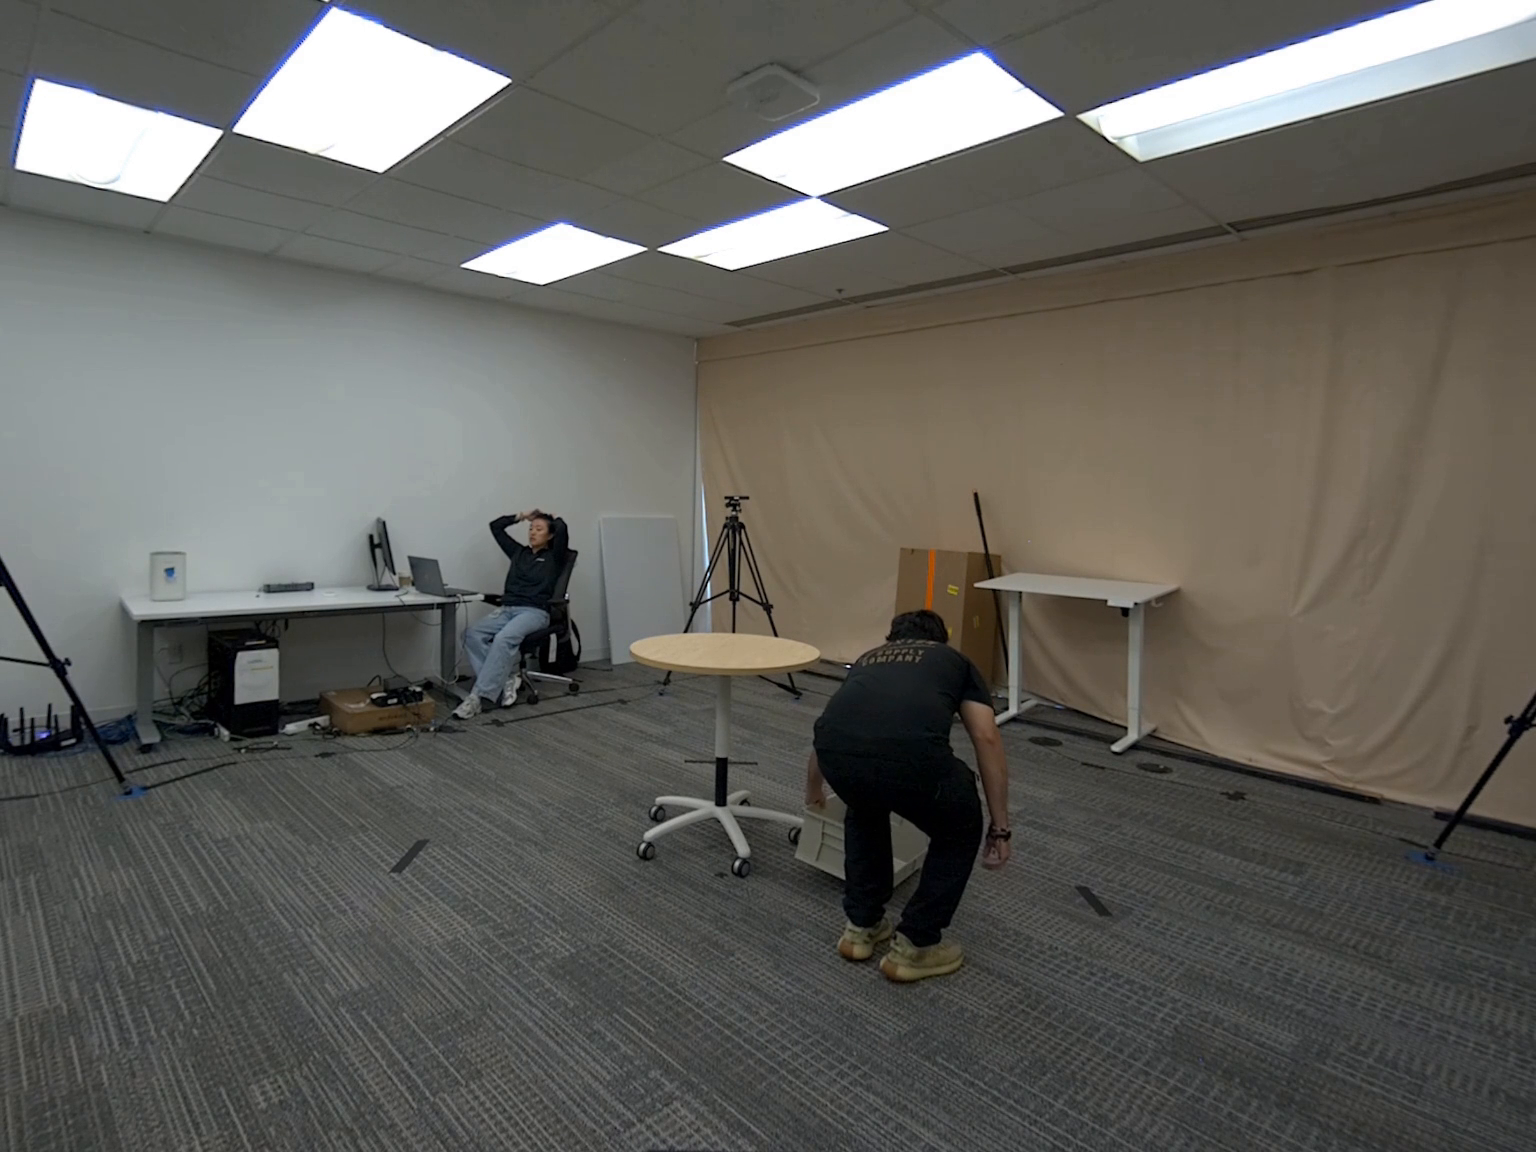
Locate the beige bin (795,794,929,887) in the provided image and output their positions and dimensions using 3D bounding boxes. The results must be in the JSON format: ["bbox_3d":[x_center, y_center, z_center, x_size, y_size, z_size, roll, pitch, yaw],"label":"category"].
[{"bbox_3d":[0.343,0.980,3.115,0.386,0.188,0.413,14,4,26],"label":"beige bin"}]
